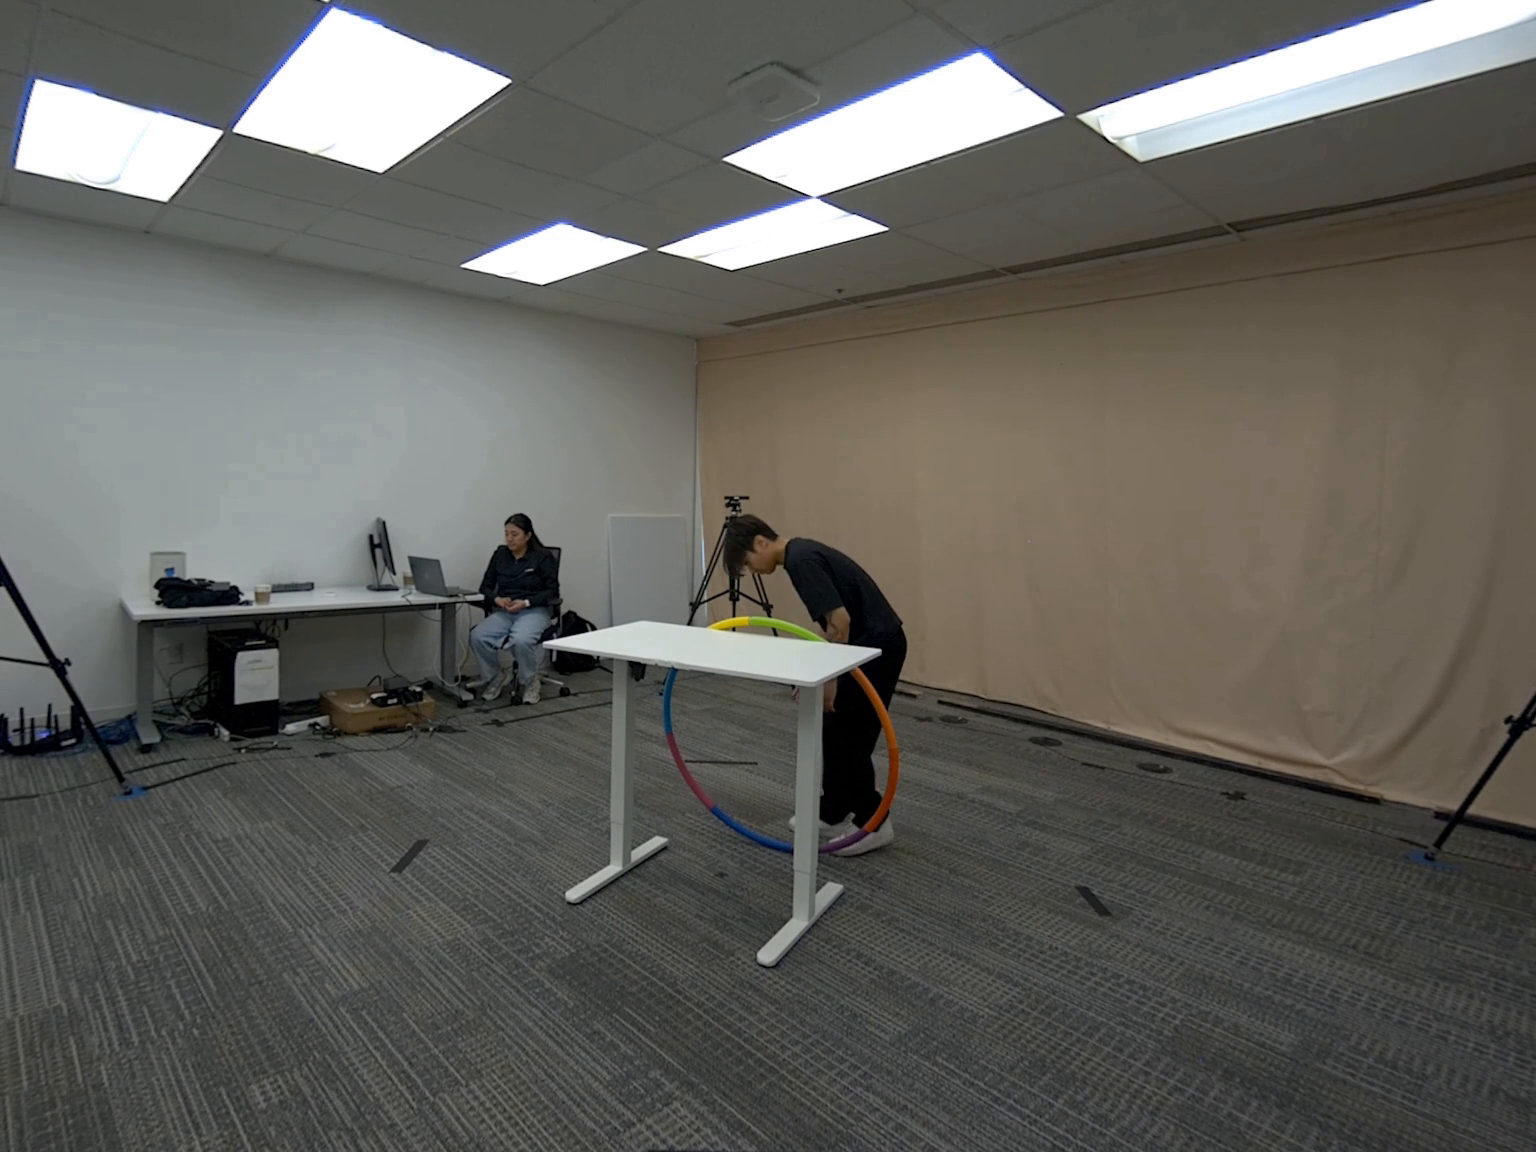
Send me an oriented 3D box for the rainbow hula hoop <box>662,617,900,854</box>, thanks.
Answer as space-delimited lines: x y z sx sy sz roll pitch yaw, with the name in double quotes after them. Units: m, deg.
0.014 0.621 3.238 0.999 0.968 0.035 4 16 29 "rainbow hula hoop"
